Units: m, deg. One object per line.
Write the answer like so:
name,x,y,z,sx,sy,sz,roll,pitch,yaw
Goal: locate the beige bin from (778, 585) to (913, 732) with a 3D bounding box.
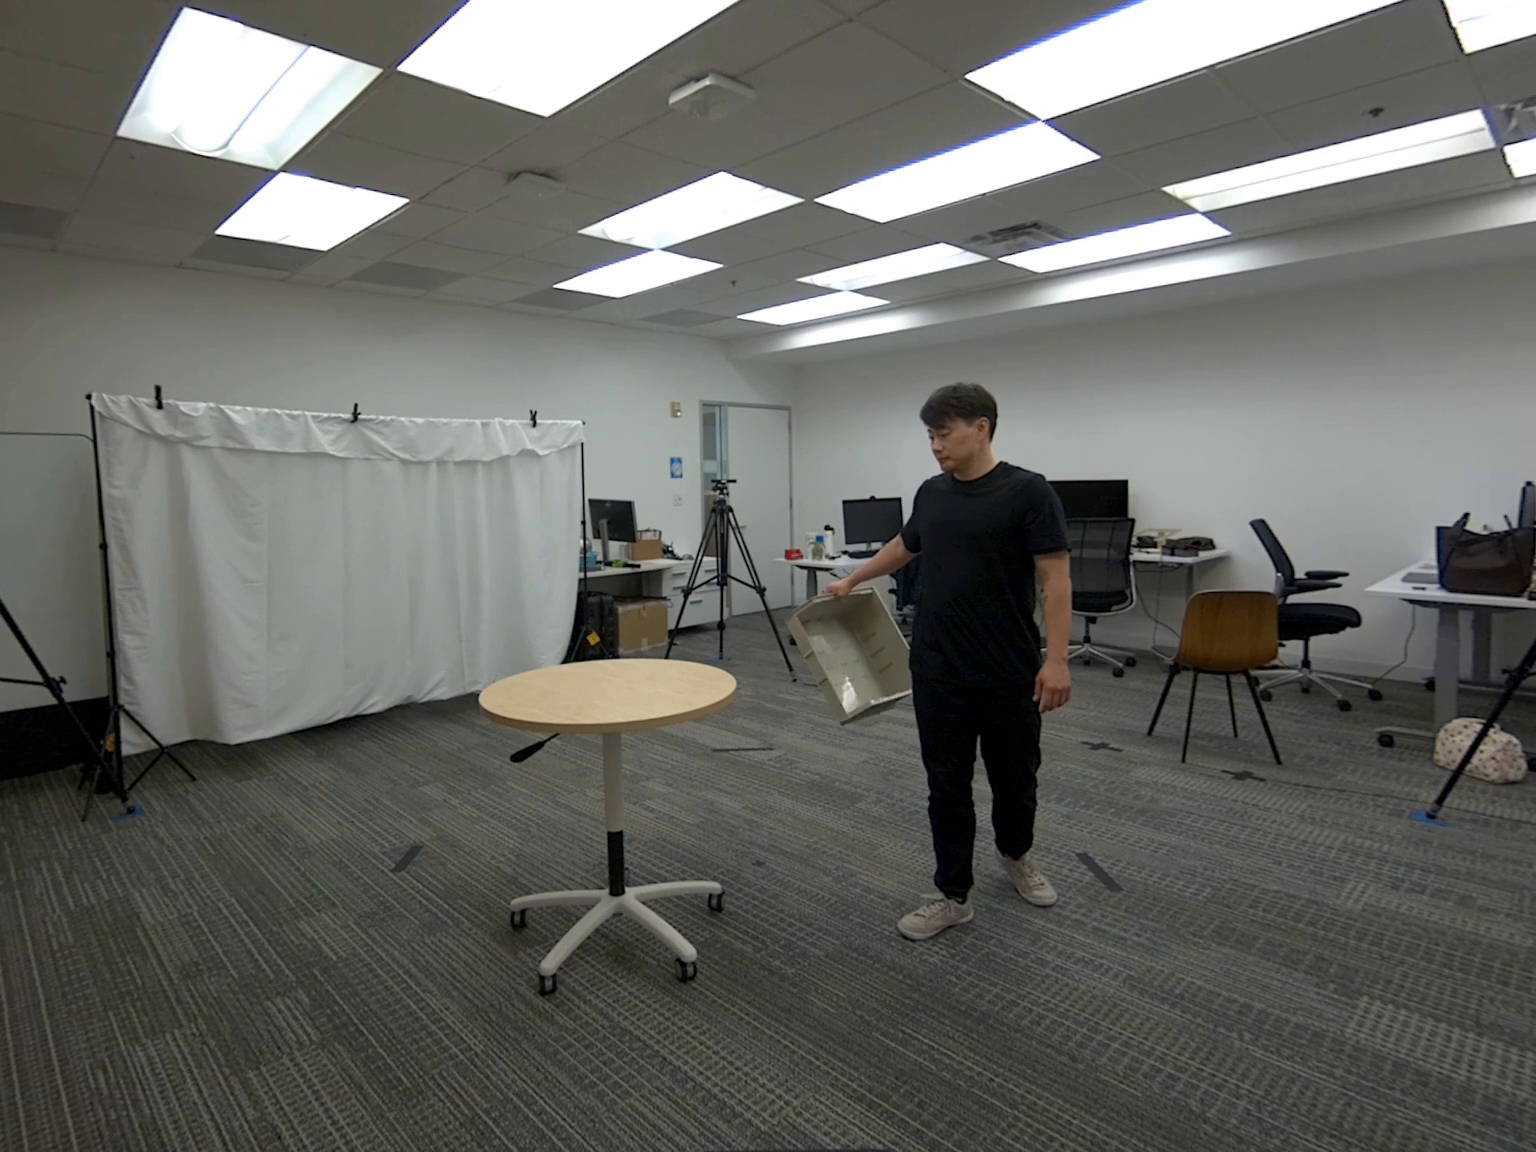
beige bin,0.315,0.280,3.054,0.367,0.433,0.189,-7,-30,-43
